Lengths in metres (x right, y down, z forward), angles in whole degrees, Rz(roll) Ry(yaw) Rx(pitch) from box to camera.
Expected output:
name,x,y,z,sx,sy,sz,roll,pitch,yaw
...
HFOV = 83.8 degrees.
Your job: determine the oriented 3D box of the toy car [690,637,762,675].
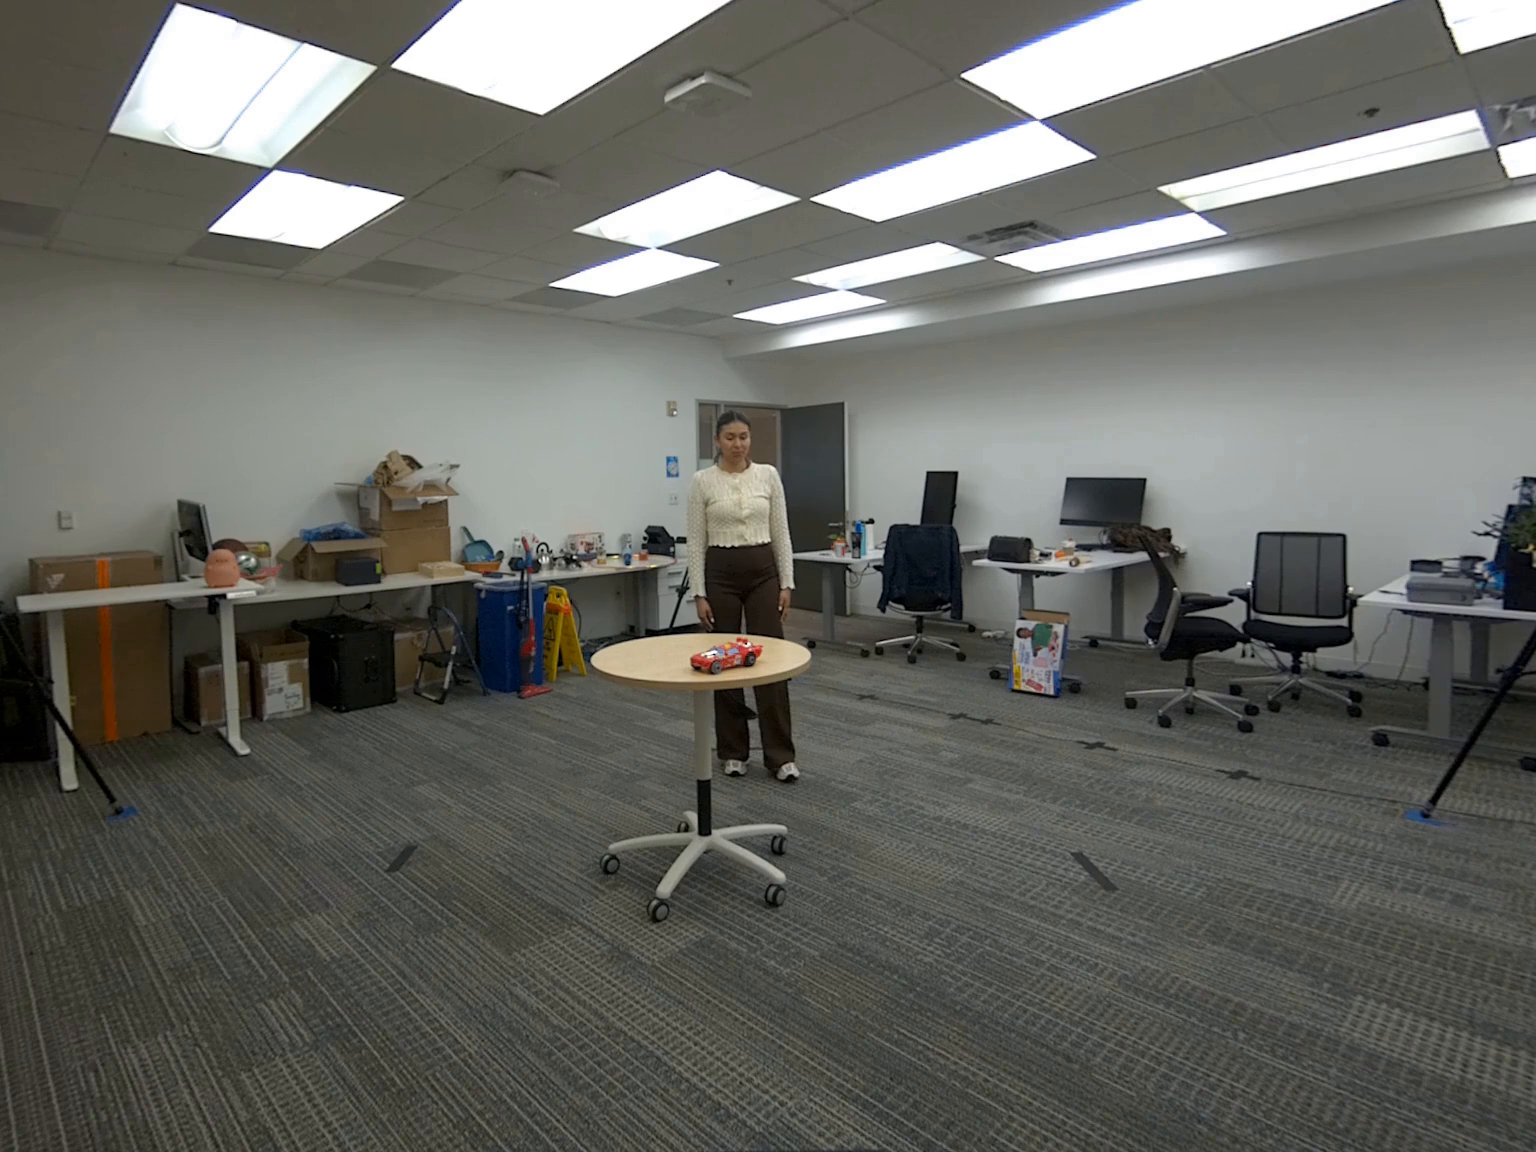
name,x,y,z,sx,sy,sz,roll,pitch,yaw
toy car,-0.126,0.270,2.799,0.250,0.082,0.134,-21,18,-38
